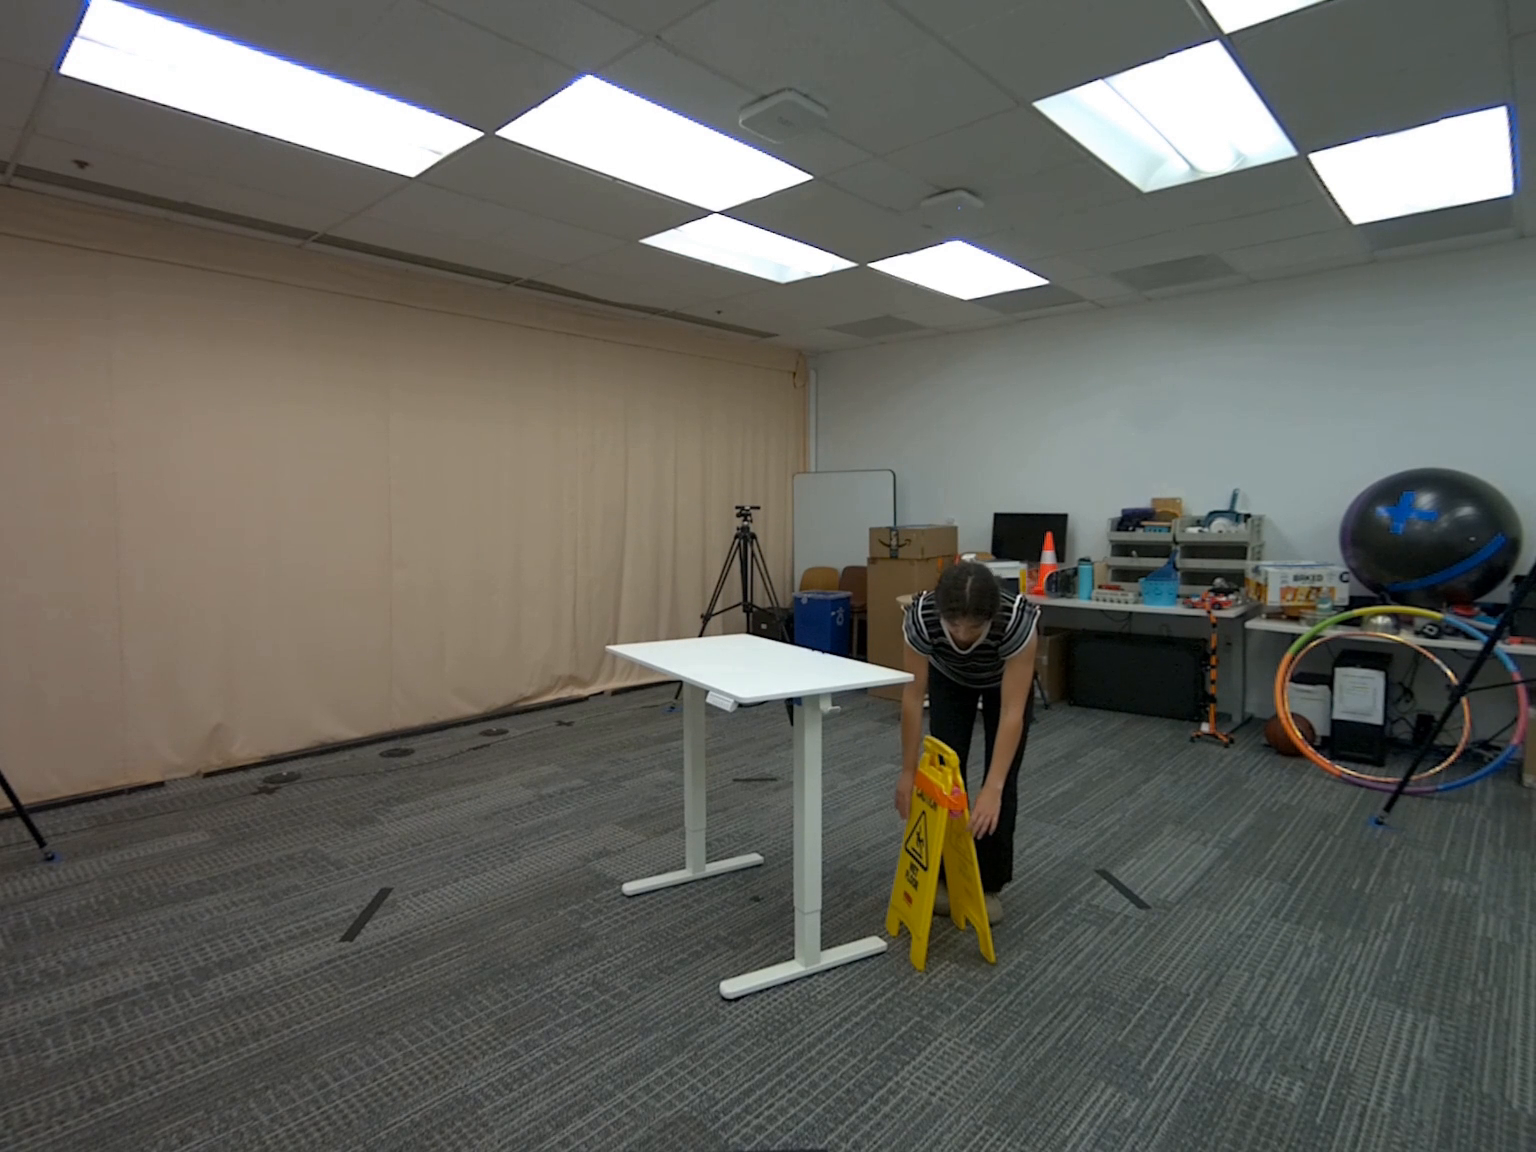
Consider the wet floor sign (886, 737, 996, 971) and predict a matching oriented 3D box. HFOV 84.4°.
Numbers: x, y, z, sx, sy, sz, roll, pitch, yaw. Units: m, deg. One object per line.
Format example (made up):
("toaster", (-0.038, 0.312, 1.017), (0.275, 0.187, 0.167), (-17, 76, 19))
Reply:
("wet floor sign", (0.551, 0.846, 2.642), (0.286, 0.645, 0.286), (0, 2, -12))
